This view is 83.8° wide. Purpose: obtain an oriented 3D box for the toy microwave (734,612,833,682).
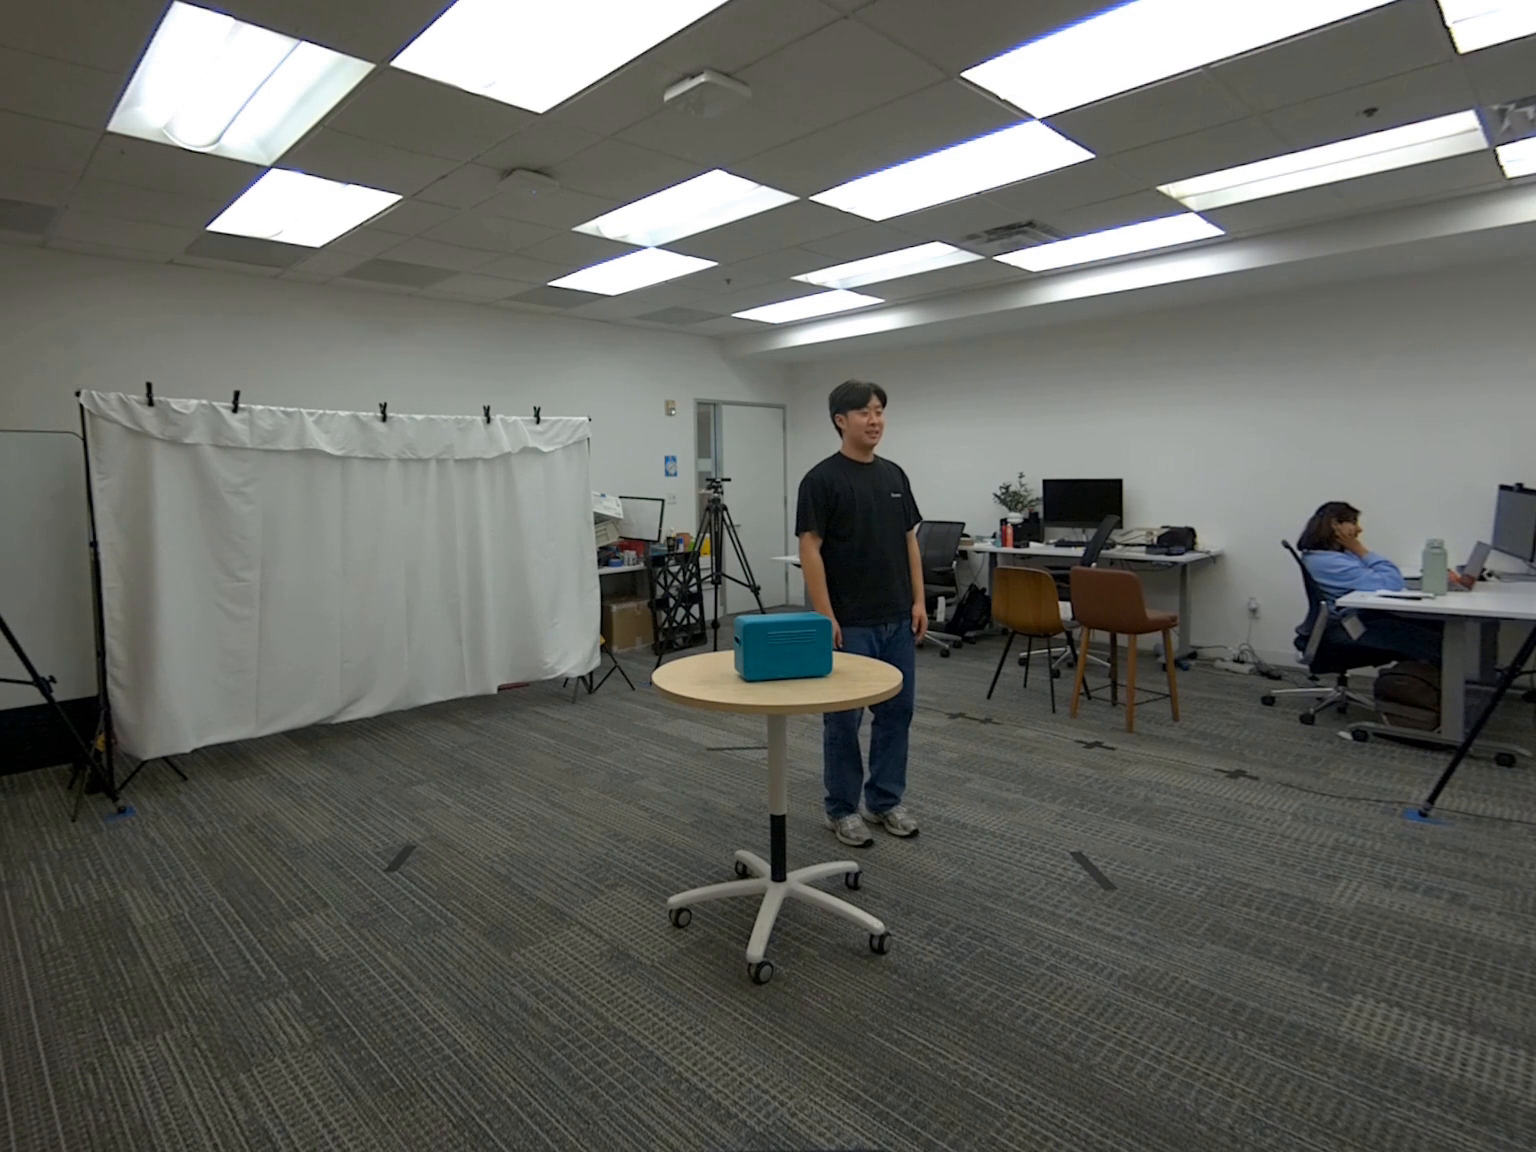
[{"bbox_3d":[0.047,0.210,2.594,0.283,0.183,0.154,-2,4,-12],"label":"toy microwave"}]
